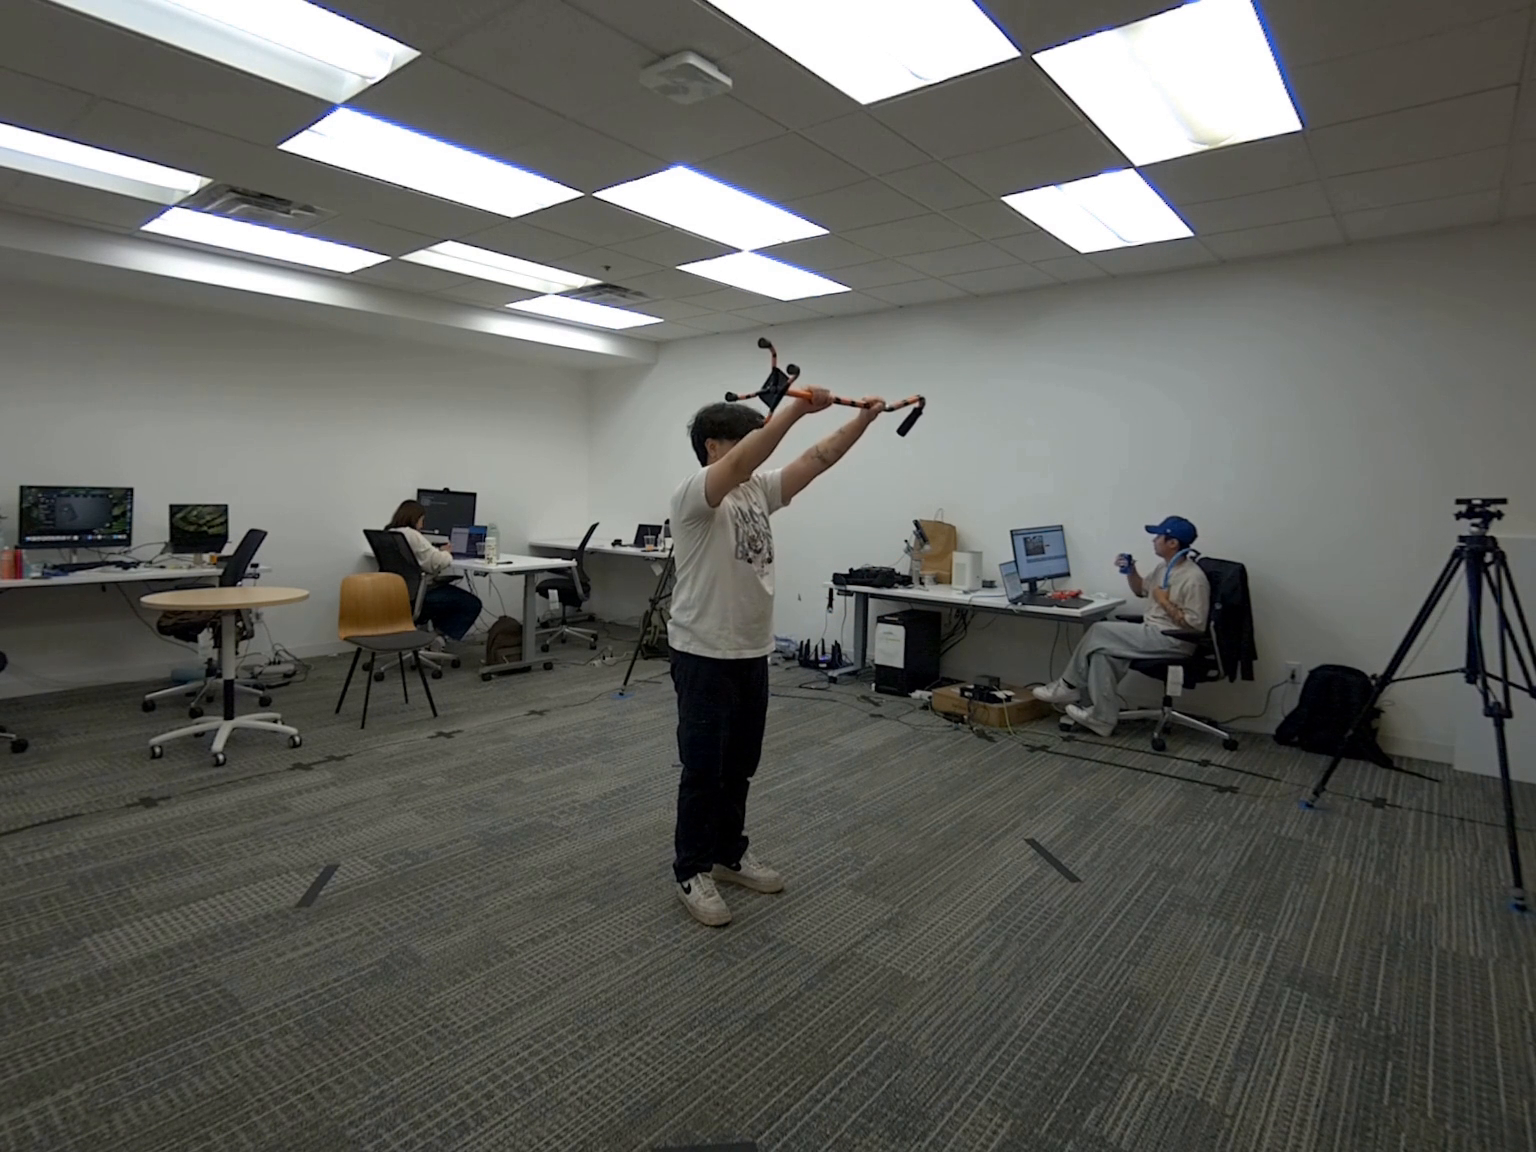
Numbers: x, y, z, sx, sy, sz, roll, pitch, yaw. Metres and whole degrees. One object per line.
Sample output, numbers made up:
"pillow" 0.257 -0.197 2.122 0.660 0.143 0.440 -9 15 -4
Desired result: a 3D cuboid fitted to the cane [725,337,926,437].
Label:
"cane" 0.231 -0.547 2.621 0.157 0.205 0.882 48 29 24
